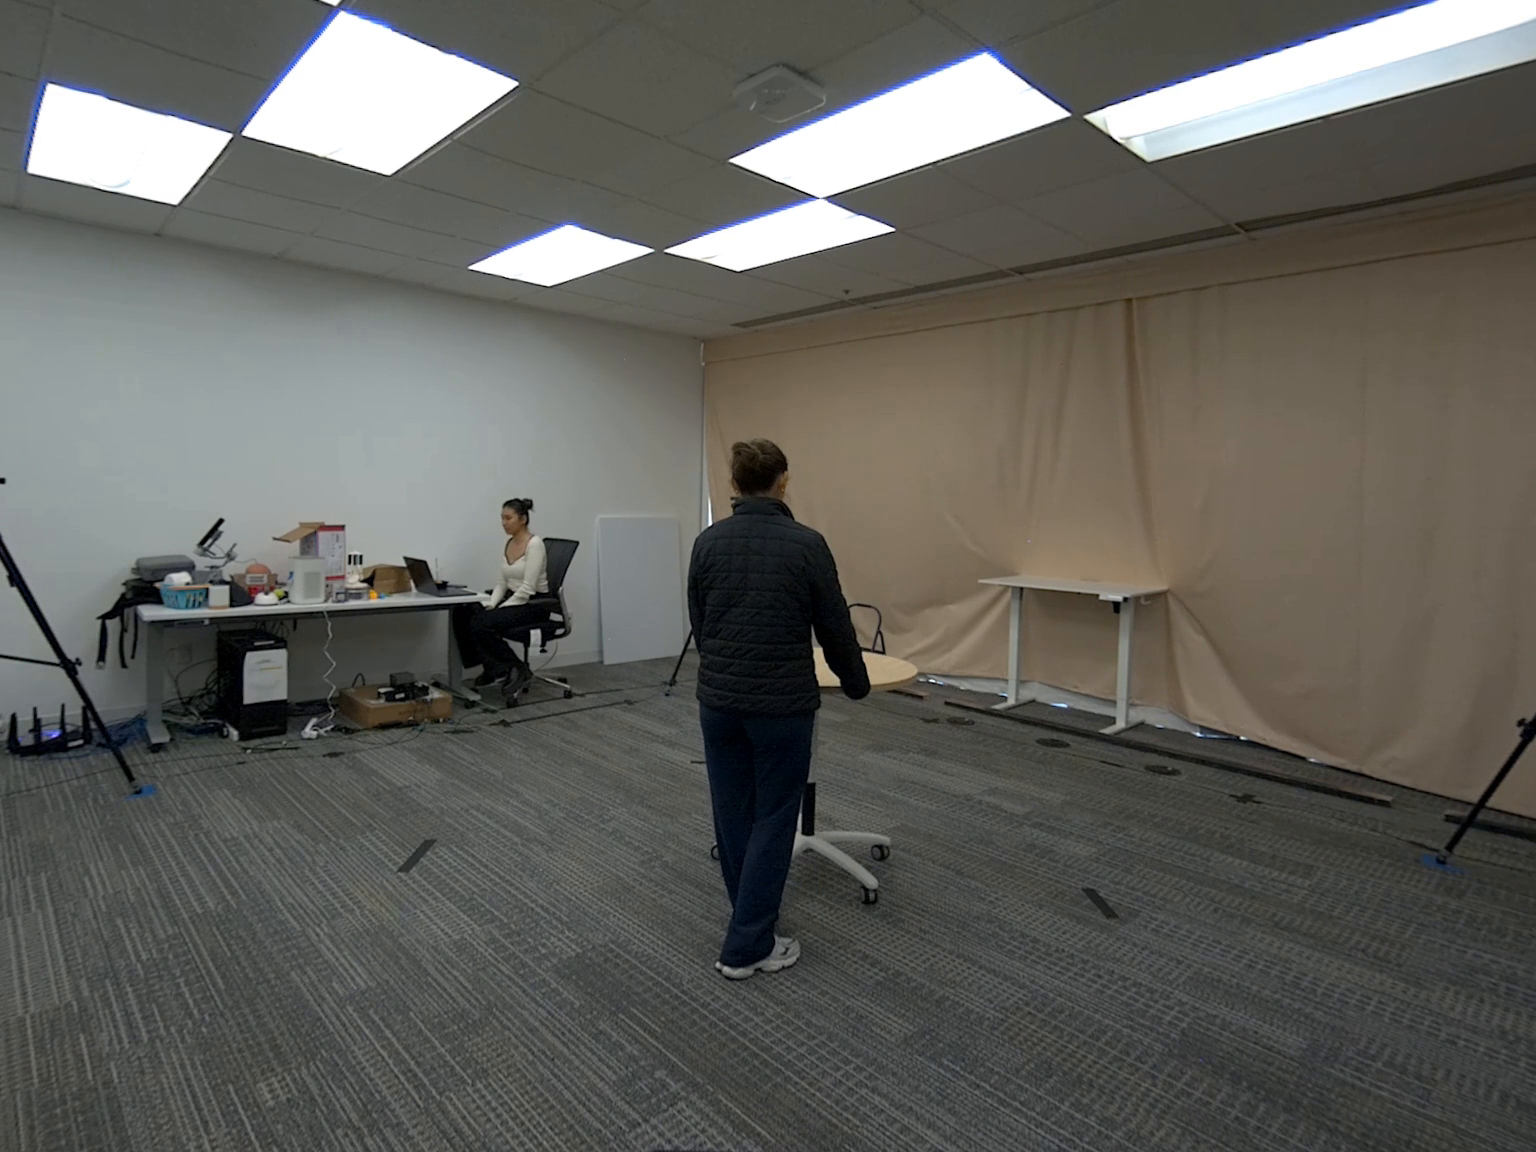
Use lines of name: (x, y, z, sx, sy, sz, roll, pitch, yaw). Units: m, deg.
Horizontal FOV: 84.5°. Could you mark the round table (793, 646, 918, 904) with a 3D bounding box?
round table: (0.139, 0.719, 3.131, 0.784, 0.785, 0.787, 1, 3, -1)
